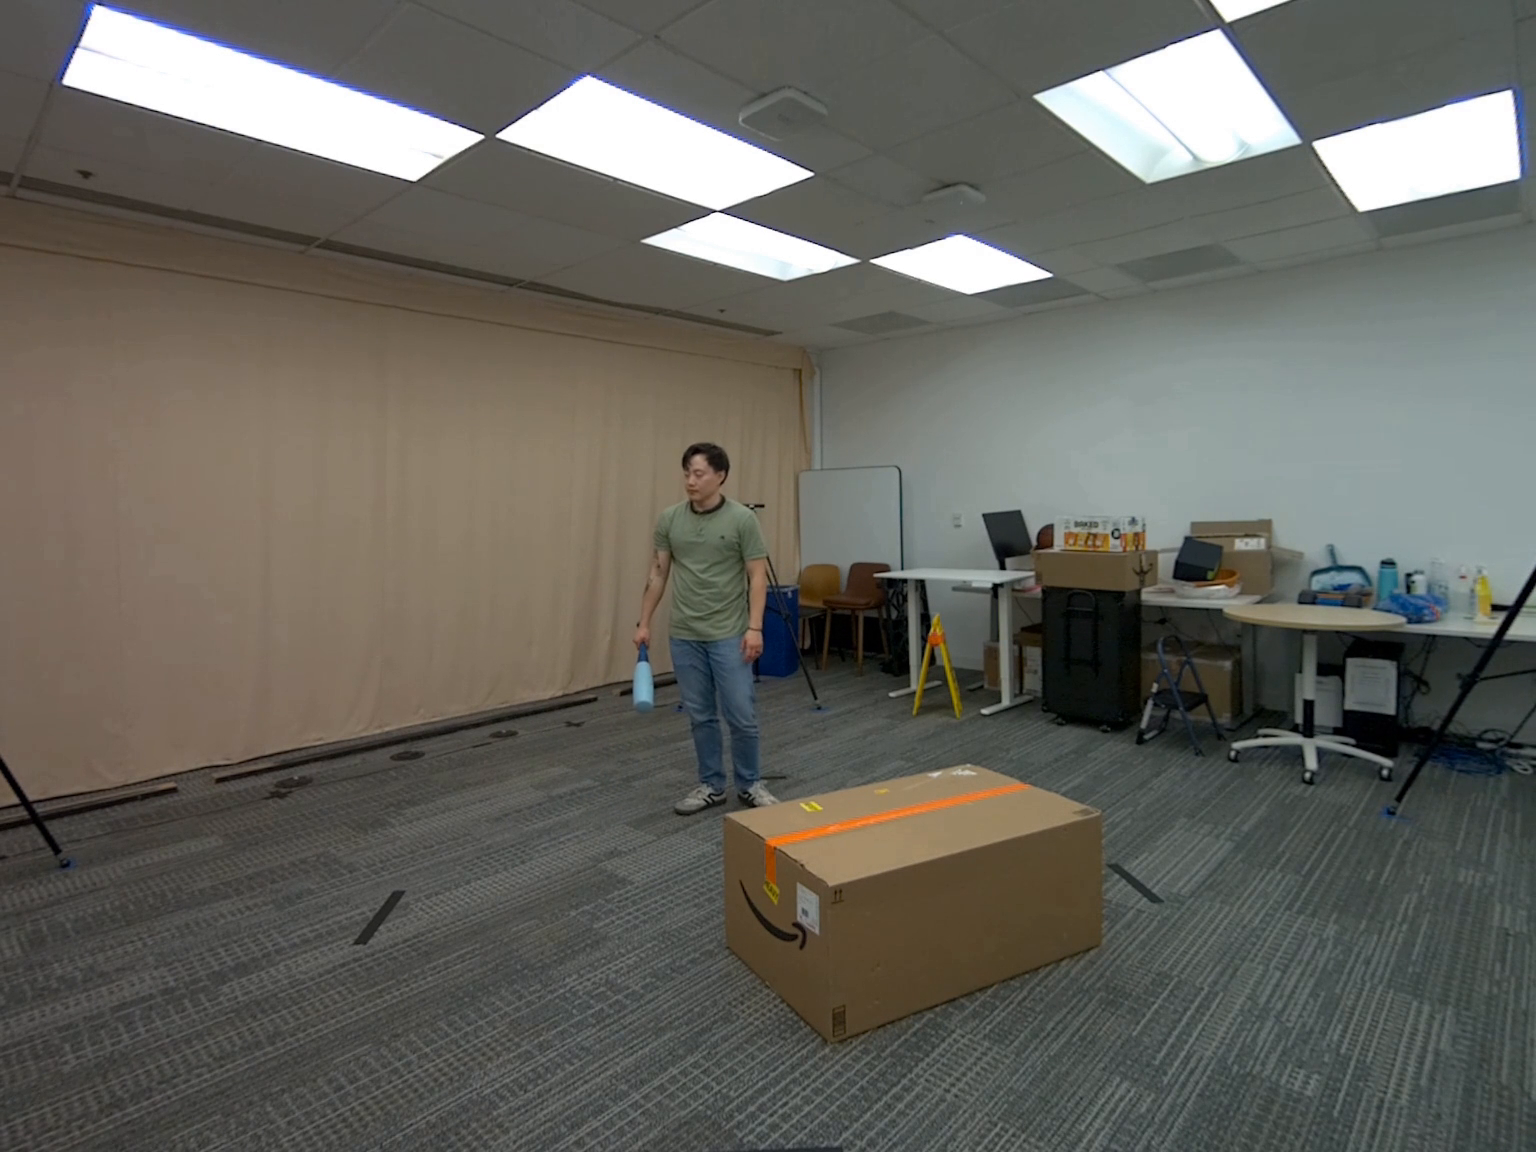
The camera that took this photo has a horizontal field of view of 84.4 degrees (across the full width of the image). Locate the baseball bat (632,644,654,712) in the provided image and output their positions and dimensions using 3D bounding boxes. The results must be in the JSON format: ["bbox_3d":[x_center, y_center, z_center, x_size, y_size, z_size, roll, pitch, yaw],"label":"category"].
[{"bbox_3d":[-0.555,0.394,3.793,0.088,0.087,0.556,-2,37,-8],"label":"baseball bat"}]
